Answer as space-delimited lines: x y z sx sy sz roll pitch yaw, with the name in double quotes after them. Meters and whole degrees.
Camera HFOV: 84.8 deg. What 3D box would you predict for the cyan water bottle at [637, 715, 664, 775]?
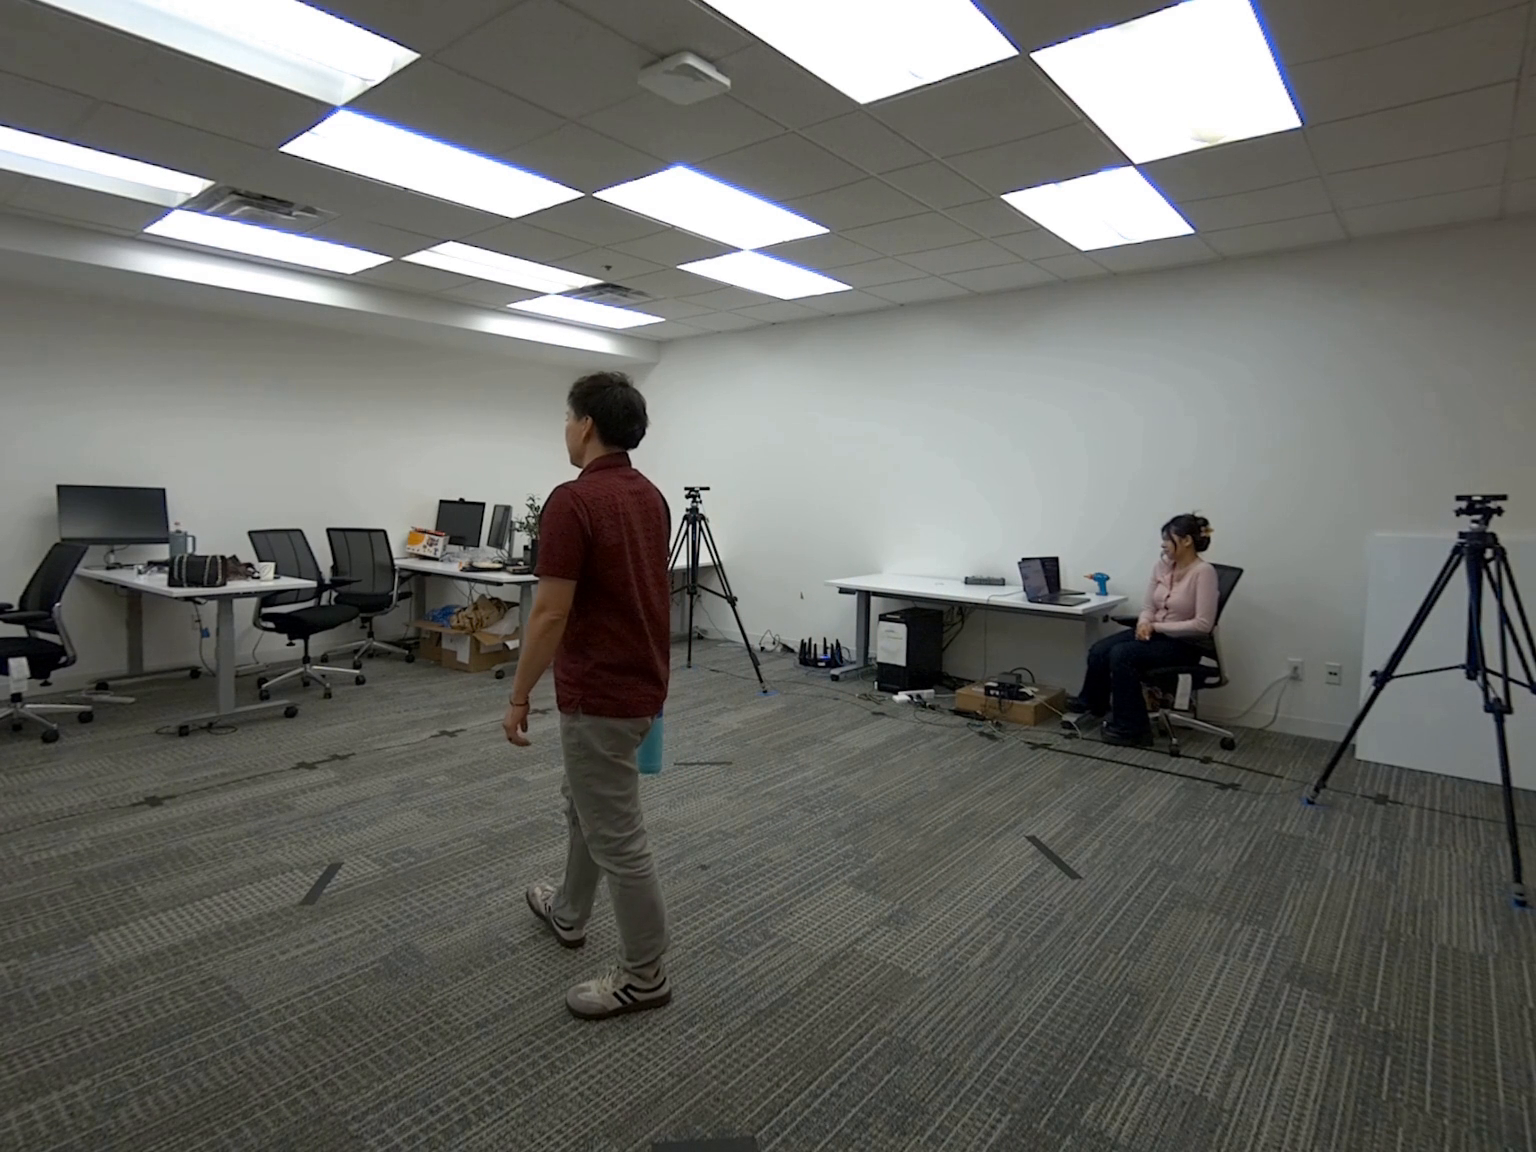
-0.390 0.473 2.675 0.092 0.283 0.092 4 0 -2 "cyan water bottle"
